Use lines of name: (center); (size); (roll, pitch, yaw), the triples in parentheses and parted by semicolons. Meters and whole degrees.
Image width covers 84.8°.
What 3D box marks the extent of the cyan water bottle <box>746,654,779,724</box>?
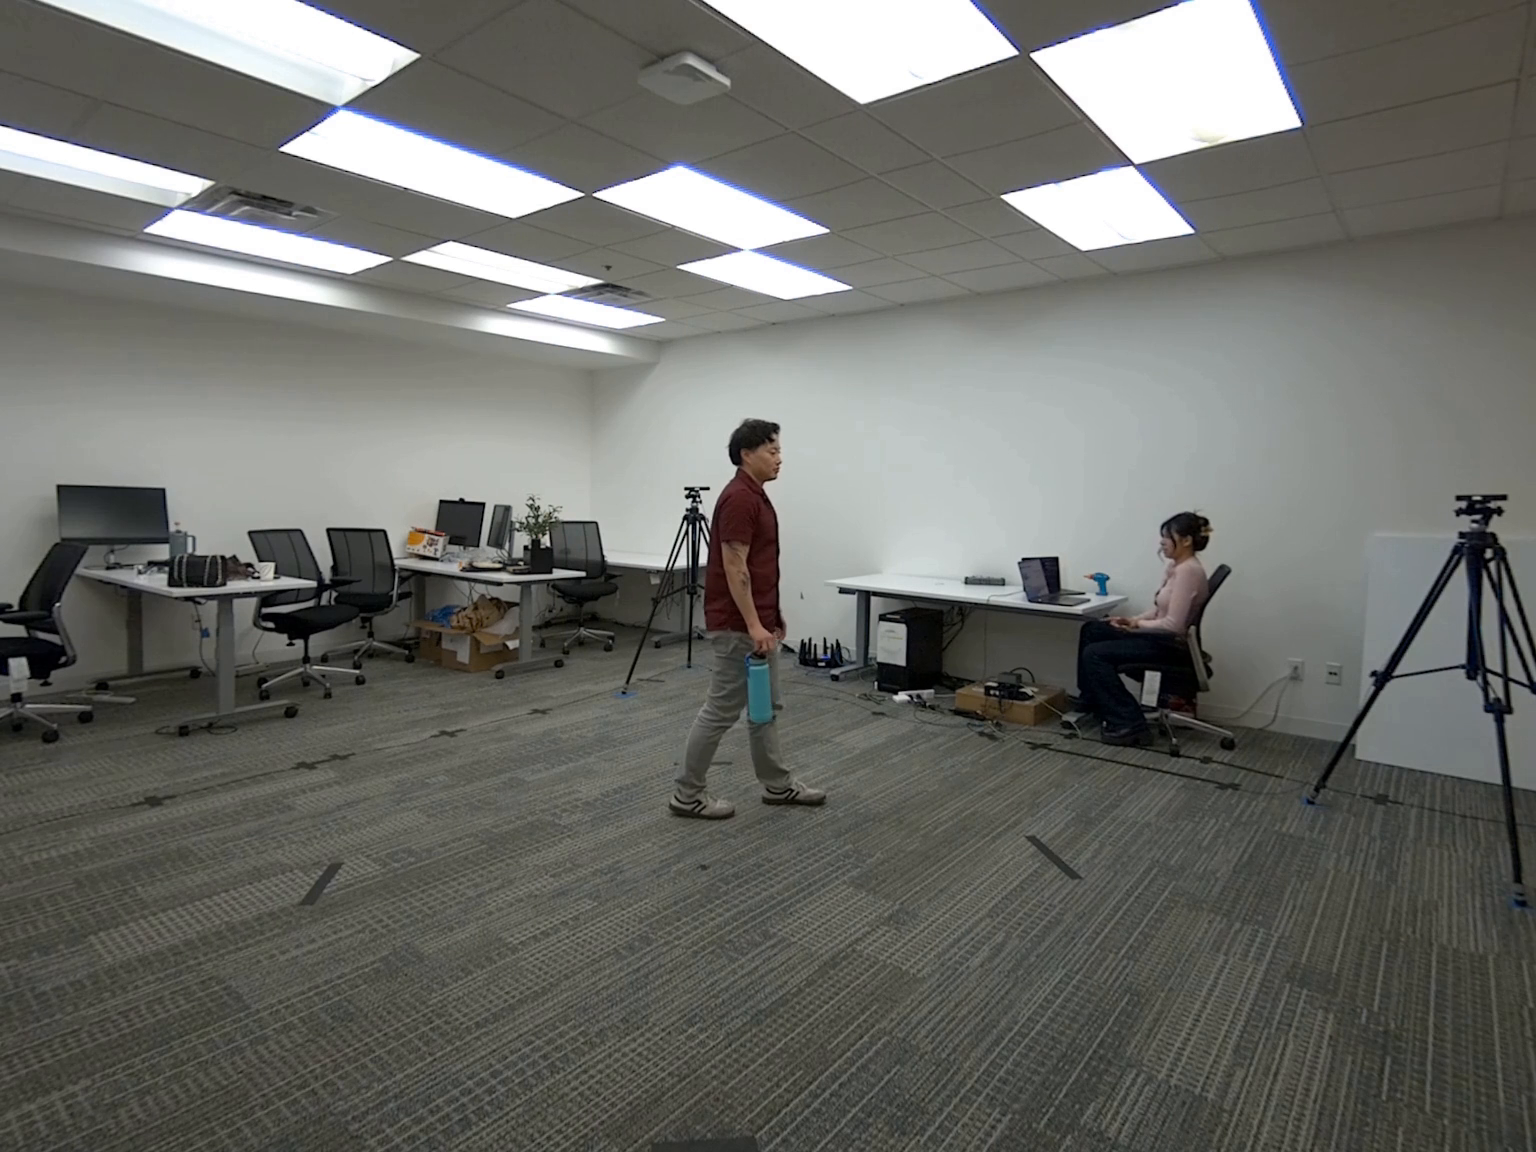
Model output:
cyan water bottle: (-0.048, 0.427, 3.399); (0.092, 0.281, 0.093); (-4, 8, -1)
